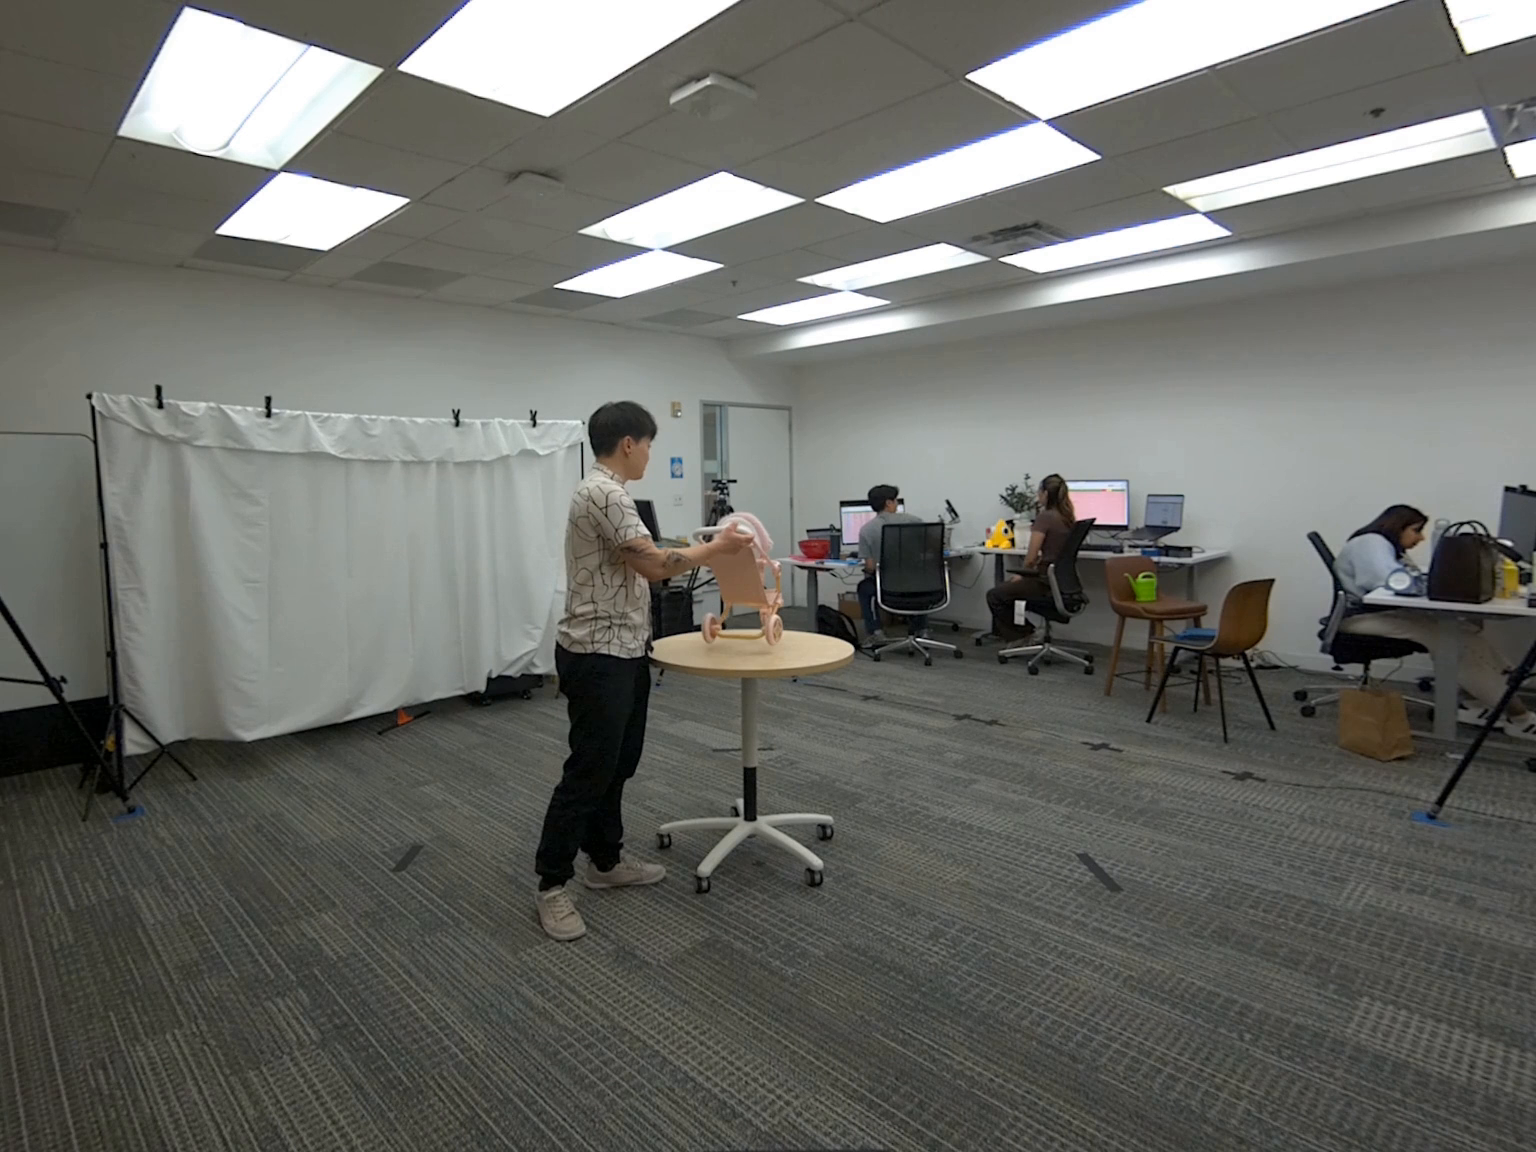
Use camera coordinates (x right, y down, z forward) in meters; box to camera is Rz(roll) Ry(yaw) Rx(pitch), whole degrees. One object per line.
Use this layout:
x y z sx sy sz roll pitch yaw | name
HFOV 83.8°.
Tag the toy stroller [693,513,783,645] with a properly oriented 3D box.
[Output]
-0.079 0.009 3.085 0.288 0.523 0.341 1 24 25 | toy stroller
